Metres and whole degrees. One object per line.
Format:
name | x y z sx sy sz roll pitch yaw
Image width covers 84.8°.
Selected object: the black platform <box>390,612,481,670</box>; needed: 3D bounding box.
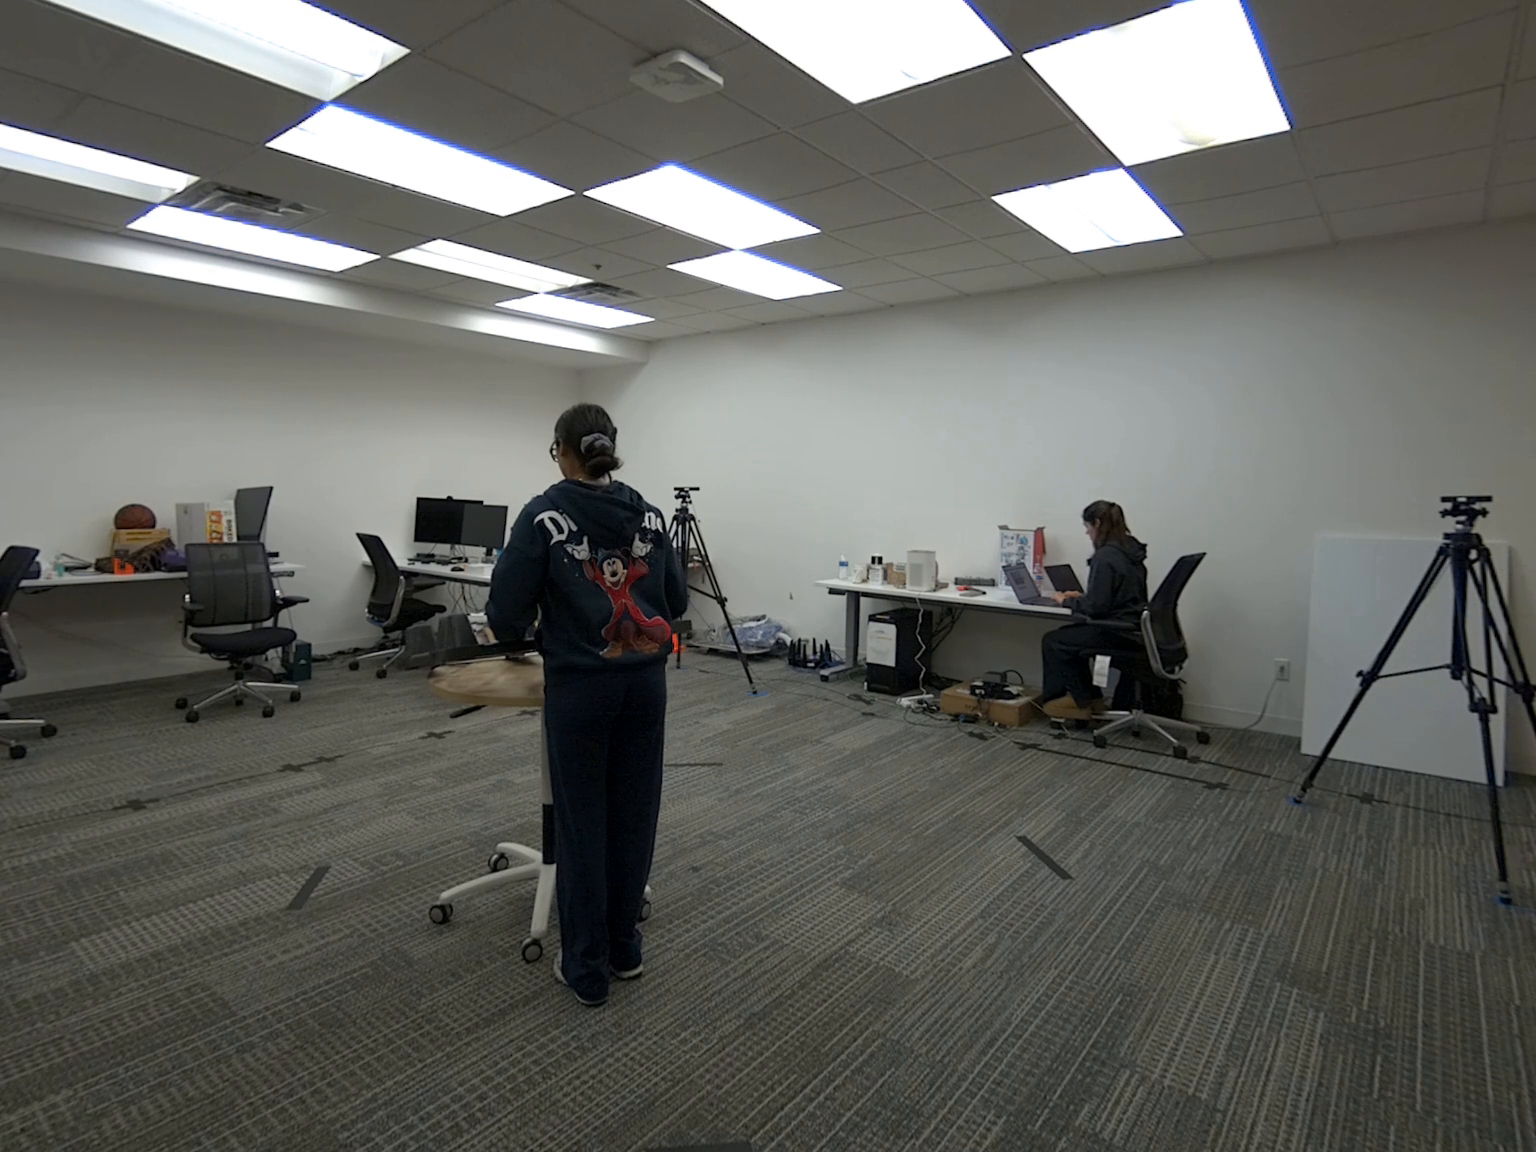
black platform | -0.747 0.179 2.789 0.783 0.144 0.619 -5 -4 -36
